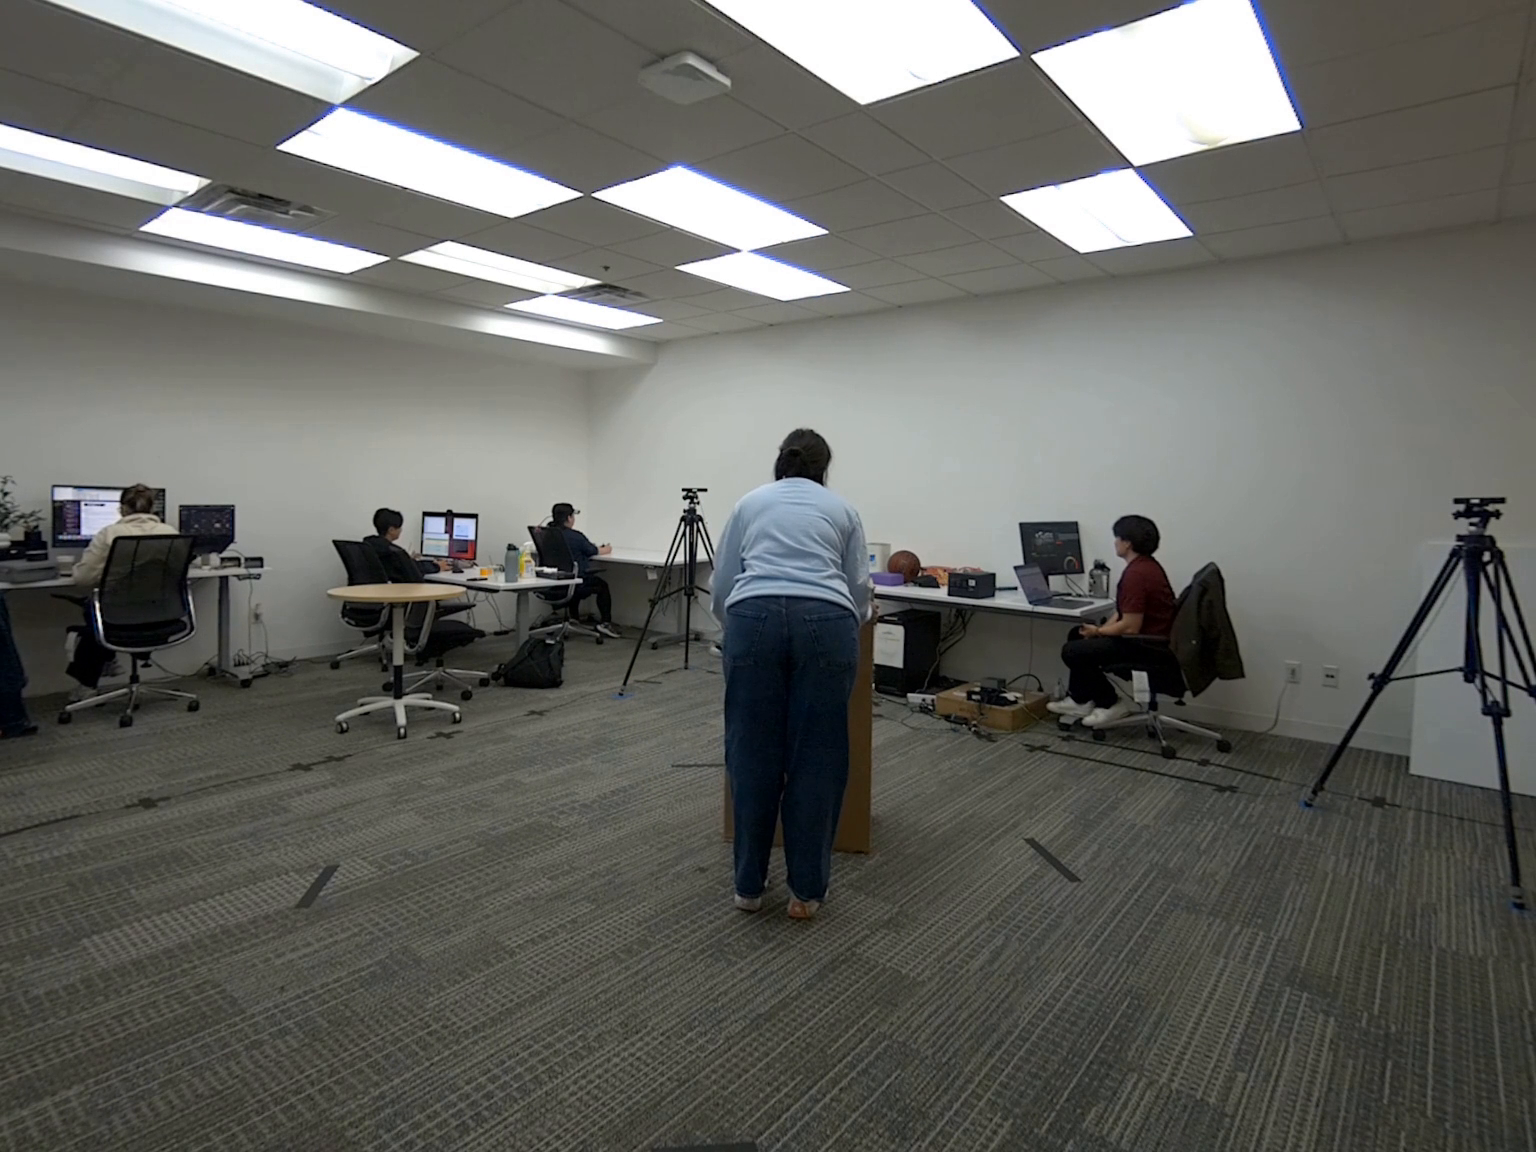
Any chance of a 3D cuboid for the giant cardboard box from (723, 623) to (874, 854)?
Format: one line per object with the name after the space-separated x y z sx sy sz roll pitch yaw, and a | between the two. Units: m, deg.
0.129 0.525 3.497 0.583 1.023 0.423 1 3 8 | giant cardboard box
